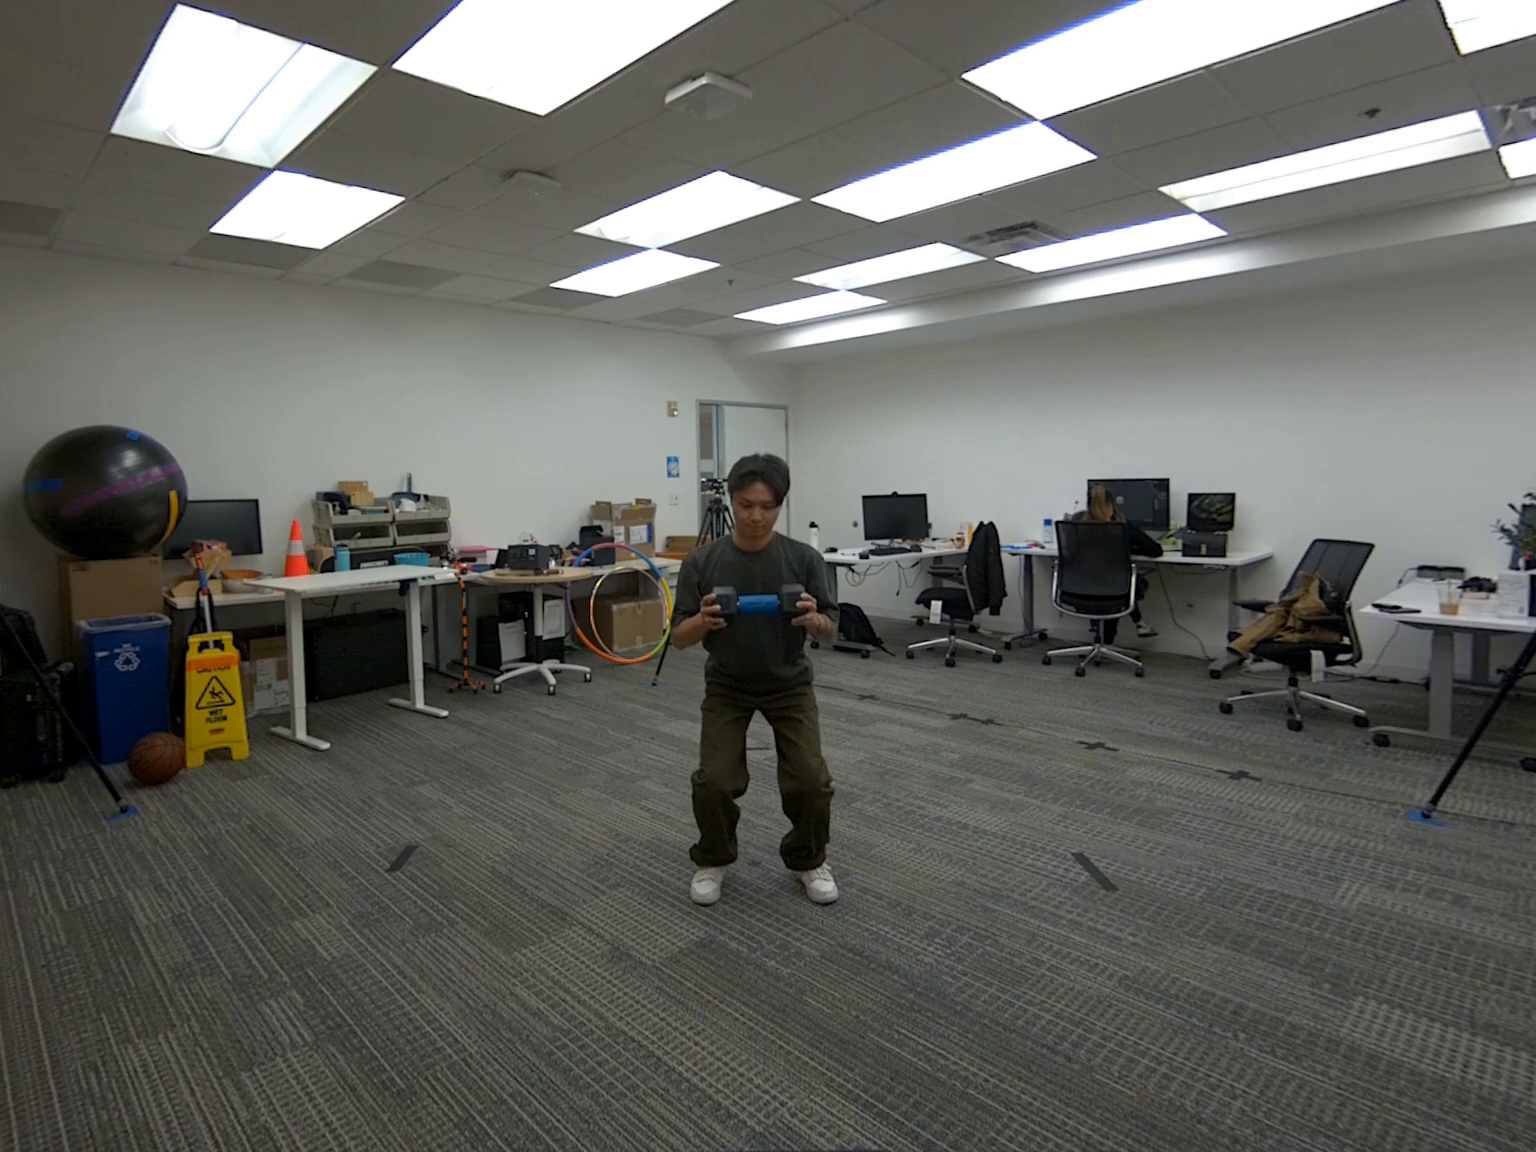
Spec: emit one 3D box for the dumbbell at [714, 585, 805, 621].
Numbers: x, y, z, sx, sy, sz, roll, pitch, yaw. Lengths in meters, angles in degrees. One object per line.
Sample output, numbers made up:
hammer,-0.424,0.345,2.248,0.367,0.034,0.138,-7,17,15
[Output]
dumbbell,-0.056,0.092,2.660,0.294,0.119,0.112,-4,44,2
